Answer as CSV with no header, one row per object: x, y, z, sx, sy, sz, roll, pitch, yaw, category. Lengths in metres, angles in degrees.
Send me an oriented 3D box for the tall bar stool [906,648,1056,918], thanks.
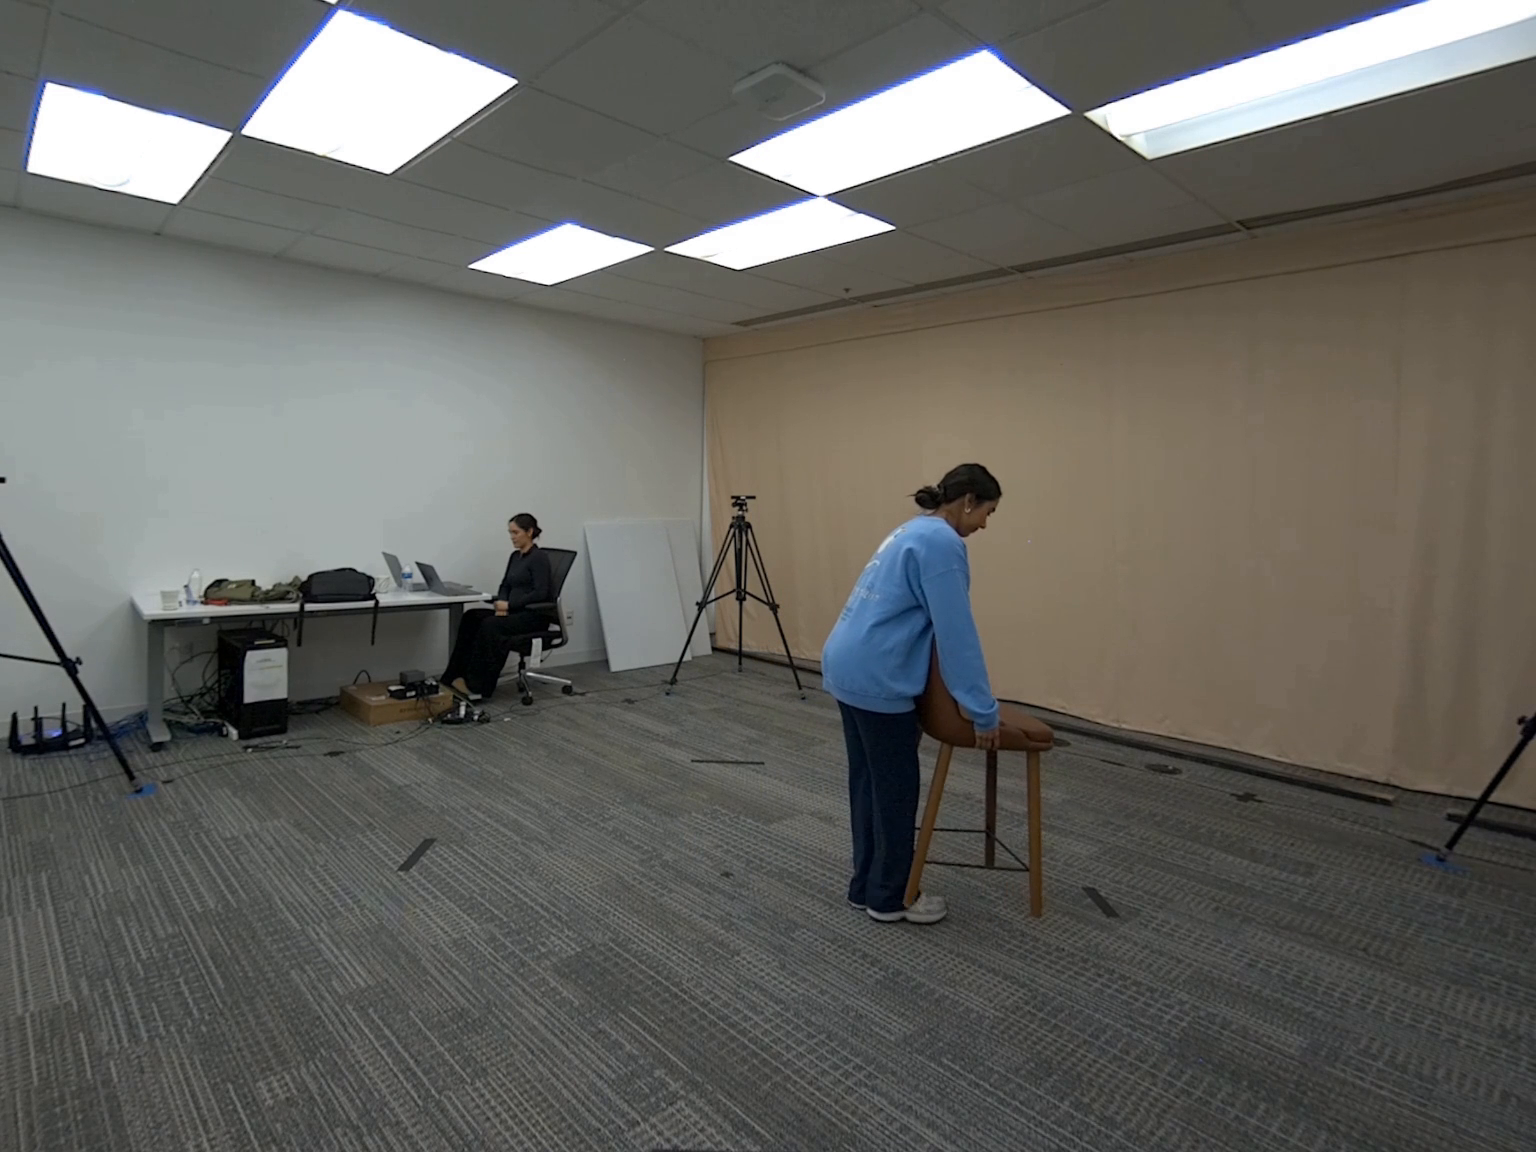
0.677,0.631,2.880,0.465,0.889,0.459,4,1,-7,tall bar stool
